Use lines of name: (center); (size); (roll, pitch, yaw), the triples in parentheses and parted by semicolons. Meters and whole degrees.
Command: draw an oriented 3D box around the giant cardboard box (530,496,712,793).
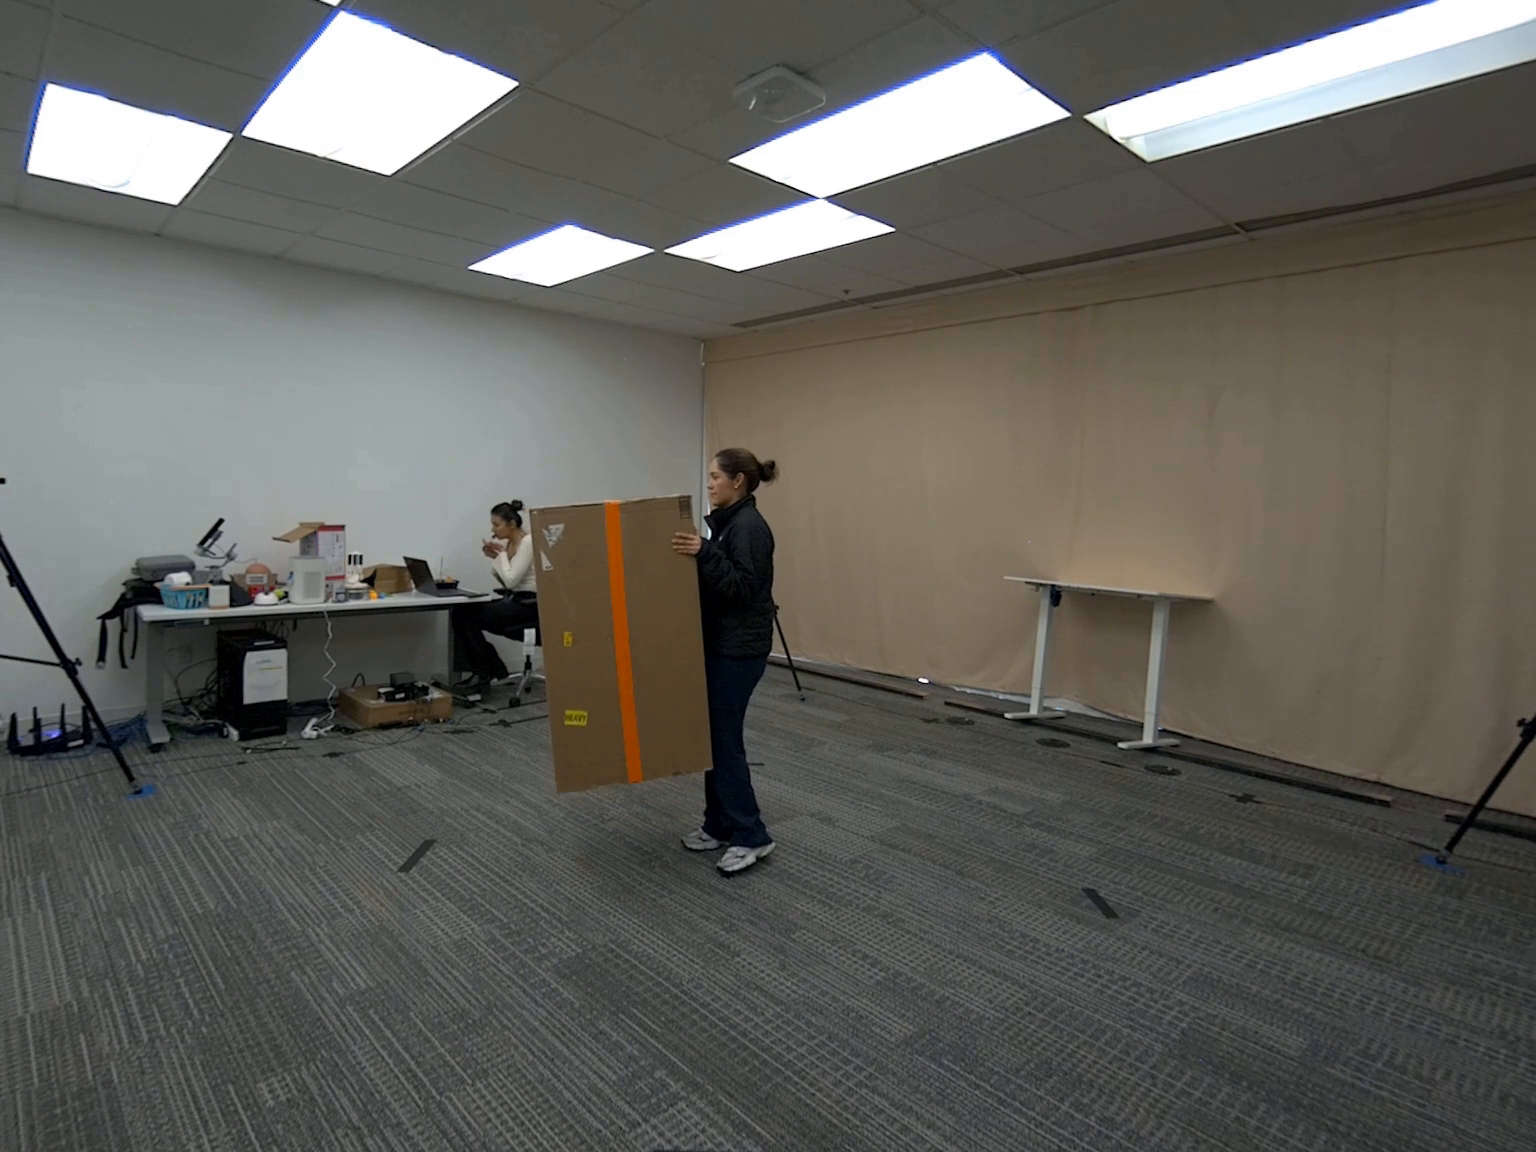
giant cardboard box: (-0.568, 0.229, 3.191); (0.572, 1.022, 0.432); (-5, 4, -13)
